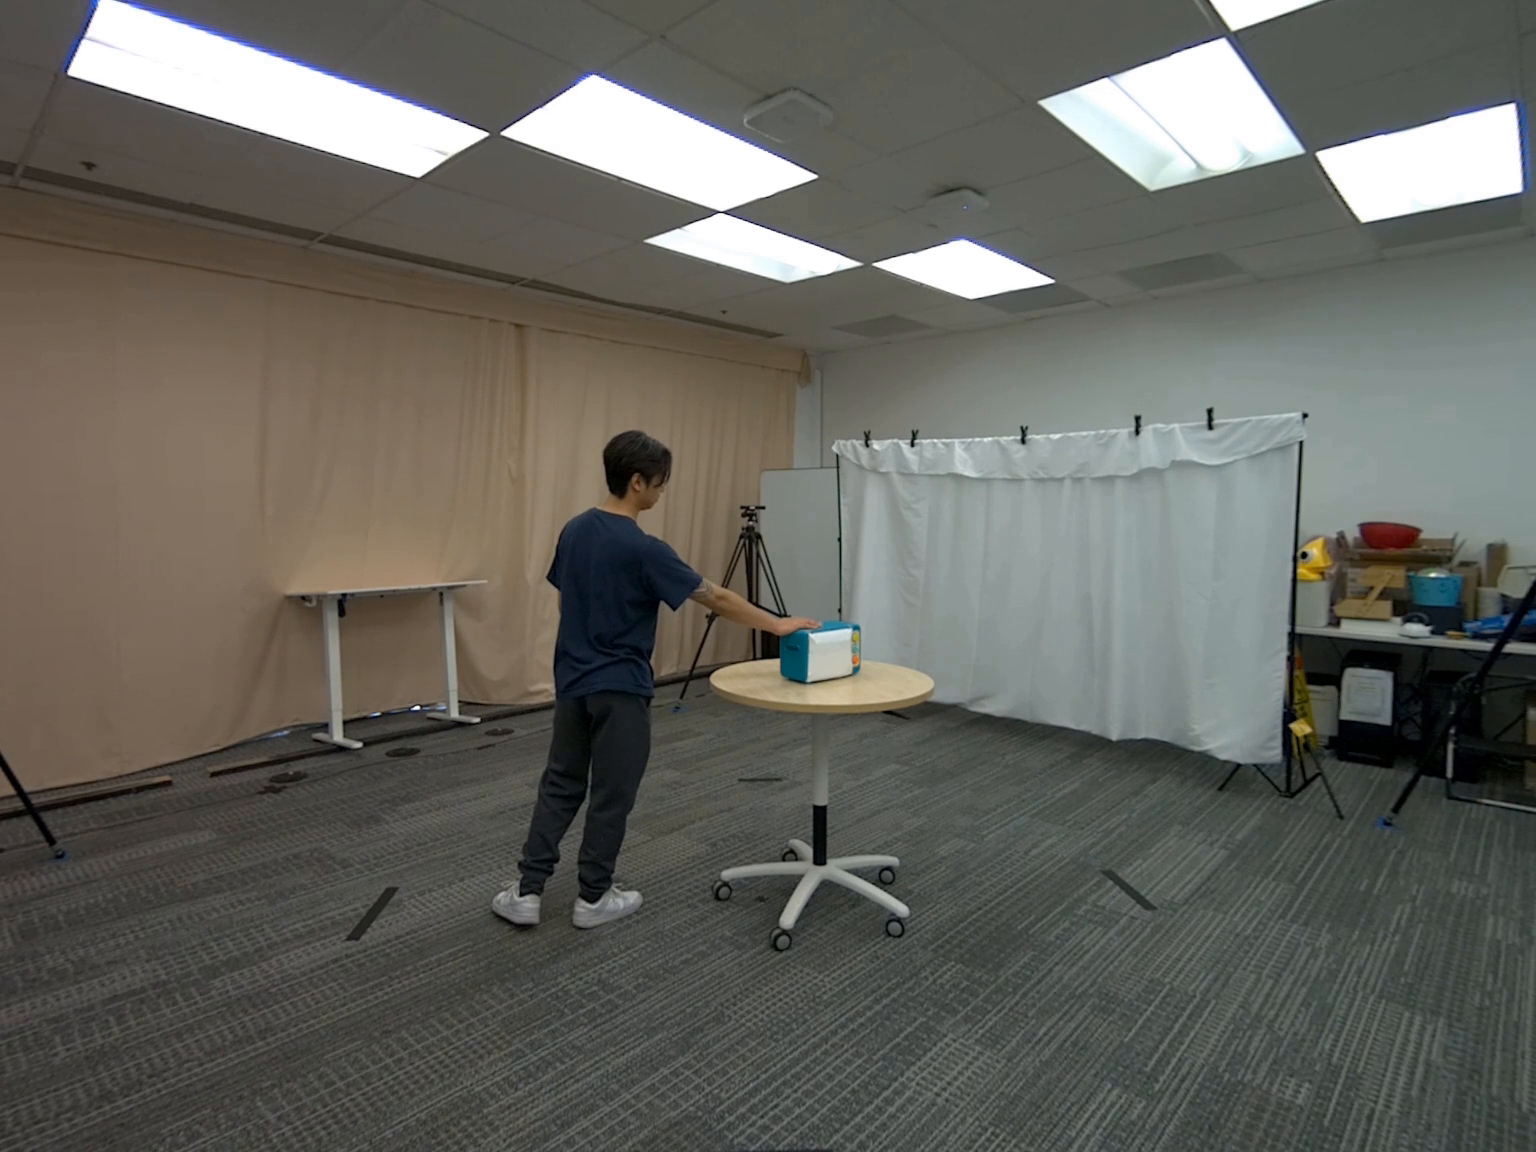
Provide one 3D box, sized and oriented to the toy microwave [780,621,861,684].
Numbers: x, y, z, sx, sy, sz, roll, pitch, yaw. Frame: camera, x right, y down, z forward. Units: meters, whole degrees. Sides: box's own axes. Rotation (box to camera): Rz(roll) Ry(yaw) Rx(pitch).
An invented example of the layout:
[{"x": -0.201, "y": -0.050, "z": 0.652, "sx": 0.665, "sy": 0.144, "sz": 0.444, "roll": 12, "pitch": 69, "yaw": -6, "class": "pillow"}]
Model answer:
[{"x": 0.198, "y": 0.263, "z": 2.917, "sx": 0.278, "sy": 0.183, "sz": 0.157, "roll": -4, "pitch": 6, "yaw": -38, "class": "toy microwave"}]
